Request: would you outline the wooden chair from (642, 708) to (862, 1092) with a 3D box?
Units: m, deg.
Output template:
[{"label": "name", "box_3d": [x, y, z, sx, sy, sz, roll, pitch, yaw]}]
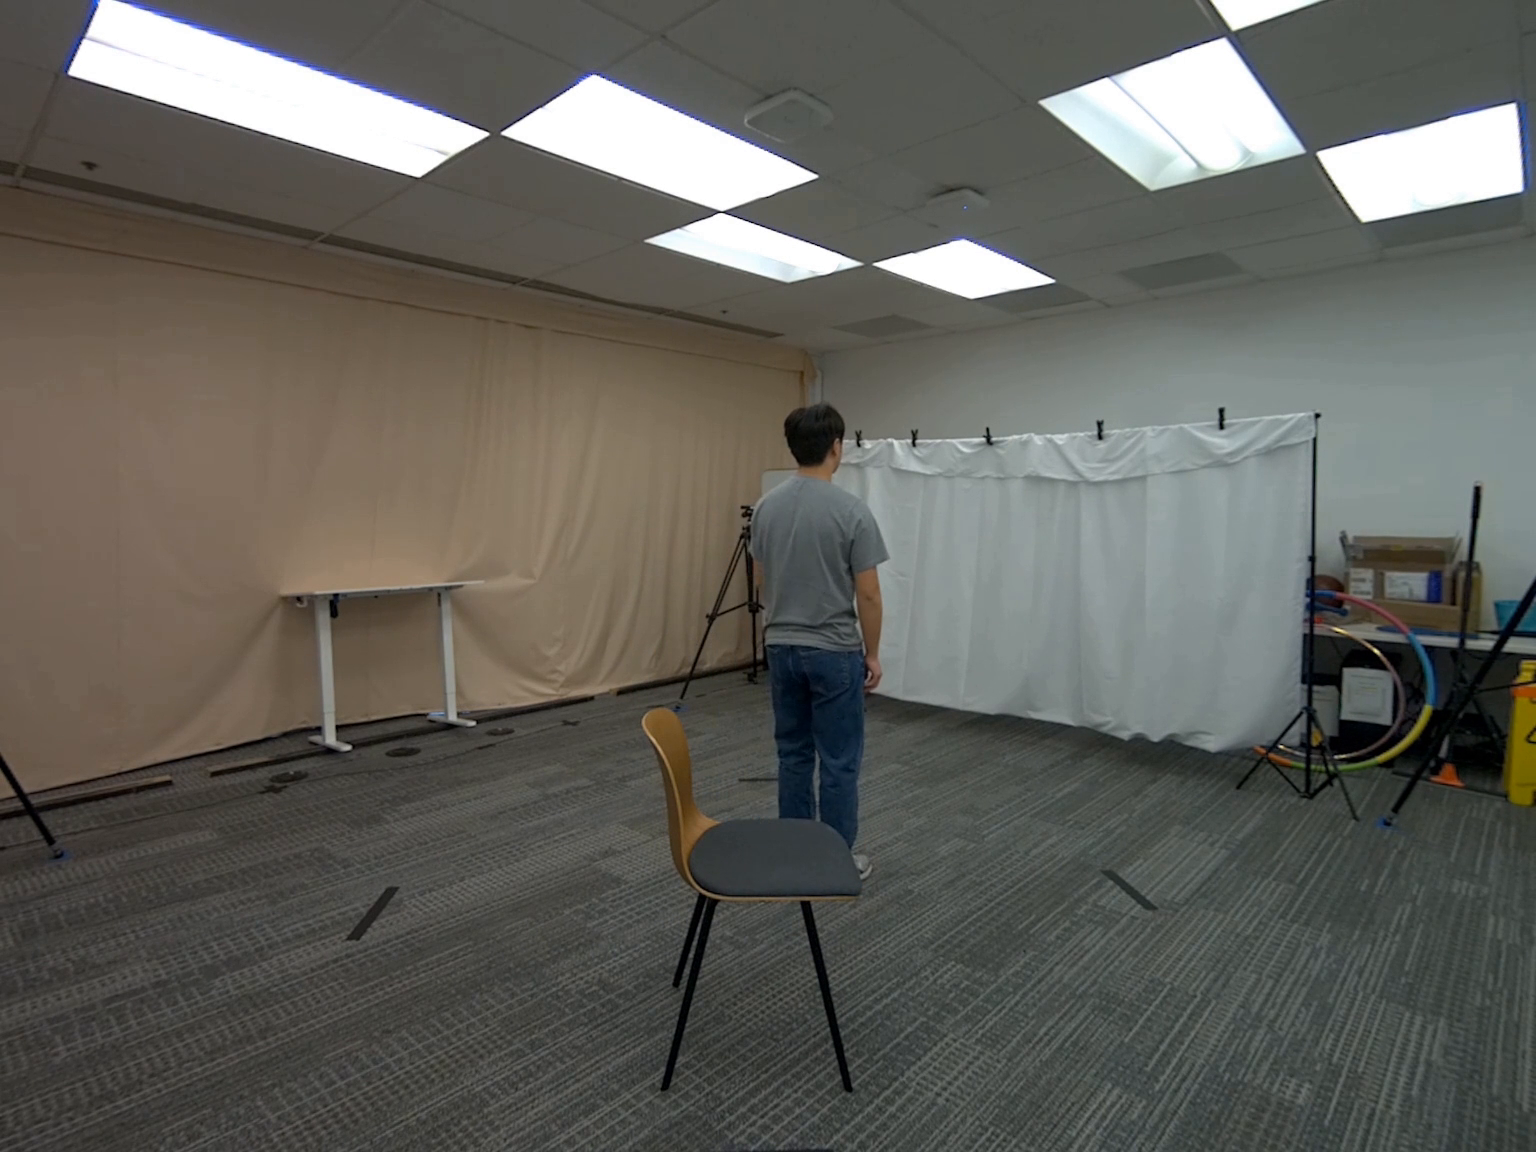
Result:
[{"label": "wooden chair", "box_3d": [-0.032, 0.785, 2.196, 0.523, 0.876, 0.479, -4, 2, -1]}]
